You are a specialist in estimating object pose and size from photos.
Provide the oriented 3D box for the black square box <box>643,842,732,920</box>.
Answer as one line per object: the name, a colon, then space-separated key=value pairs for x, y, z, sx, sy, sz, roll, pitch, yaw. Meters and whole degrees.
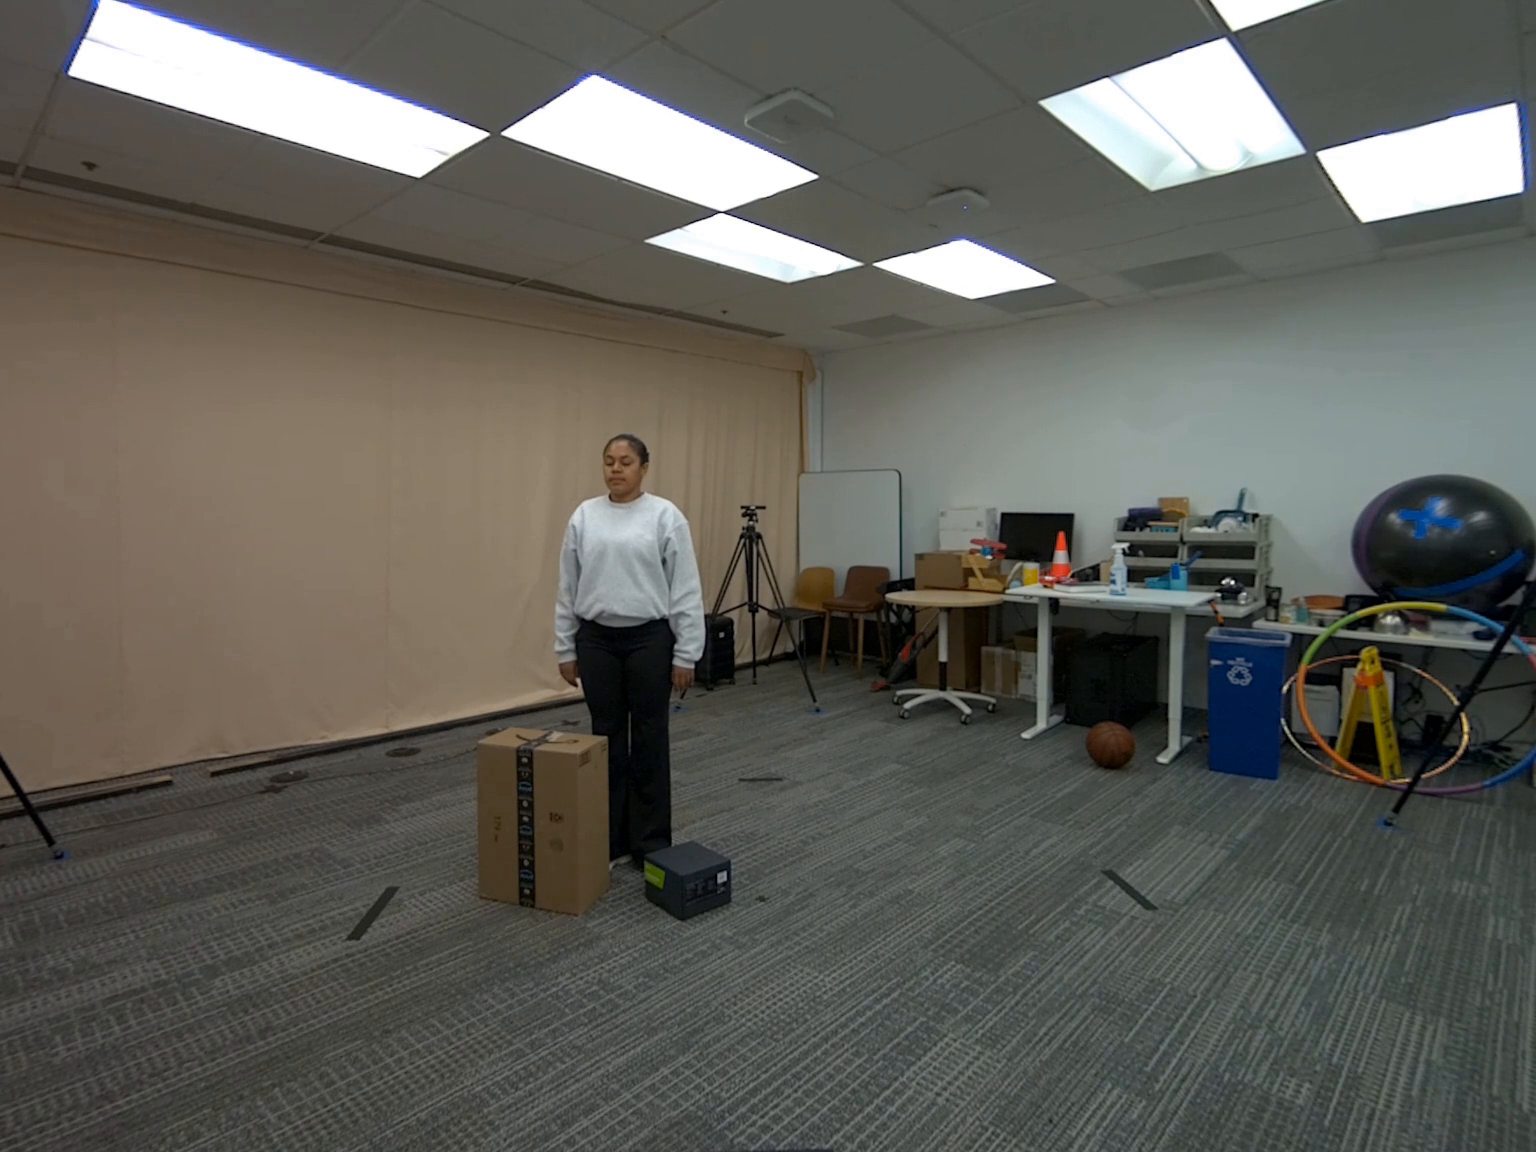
black square box: x=-0.281 y=1.068 z=2.960 sx=0.210 sy=0.155 sz=0.235 roll=-4 pitch=5 yaw=-41
